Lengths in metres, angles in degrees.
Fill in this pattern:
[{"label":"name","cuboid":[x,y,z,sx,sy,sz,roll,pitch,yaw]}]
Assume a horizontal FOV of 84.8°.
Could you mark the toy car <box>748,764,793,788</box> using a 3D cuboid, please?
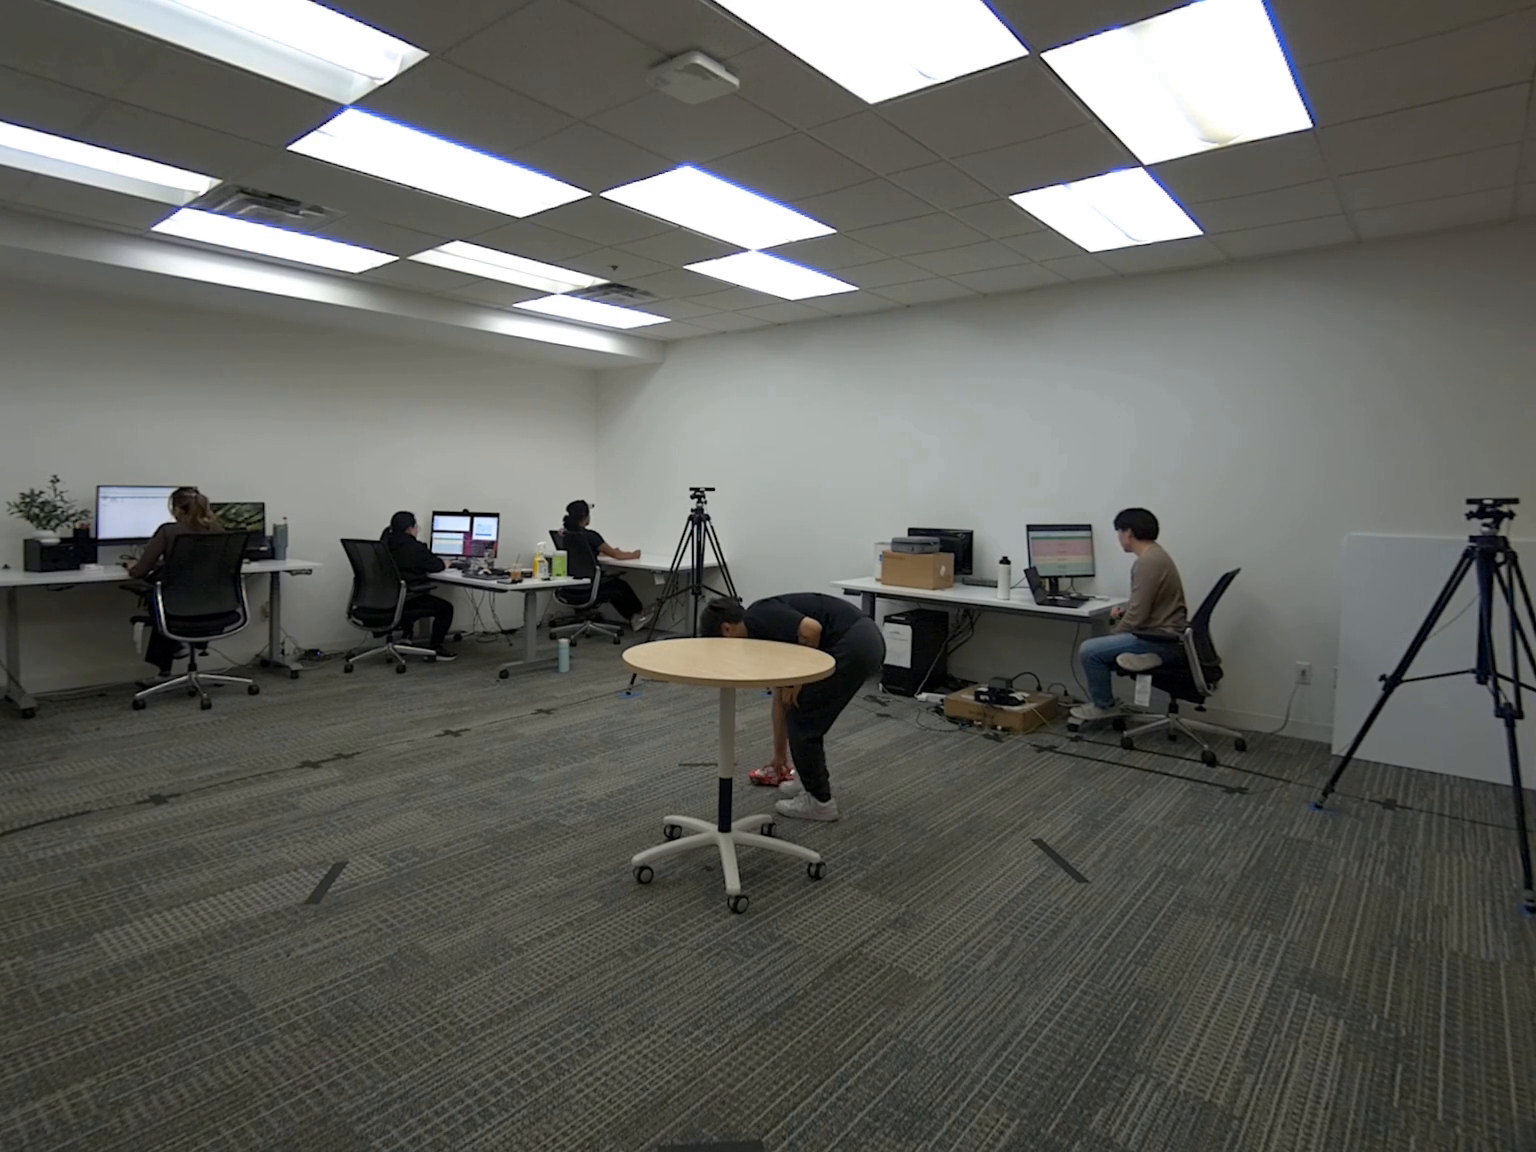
[{"label":"toy car","cuboid":[0.036,0.951,4.026,0.258,0.083,0.129,-9,2,15]}]
